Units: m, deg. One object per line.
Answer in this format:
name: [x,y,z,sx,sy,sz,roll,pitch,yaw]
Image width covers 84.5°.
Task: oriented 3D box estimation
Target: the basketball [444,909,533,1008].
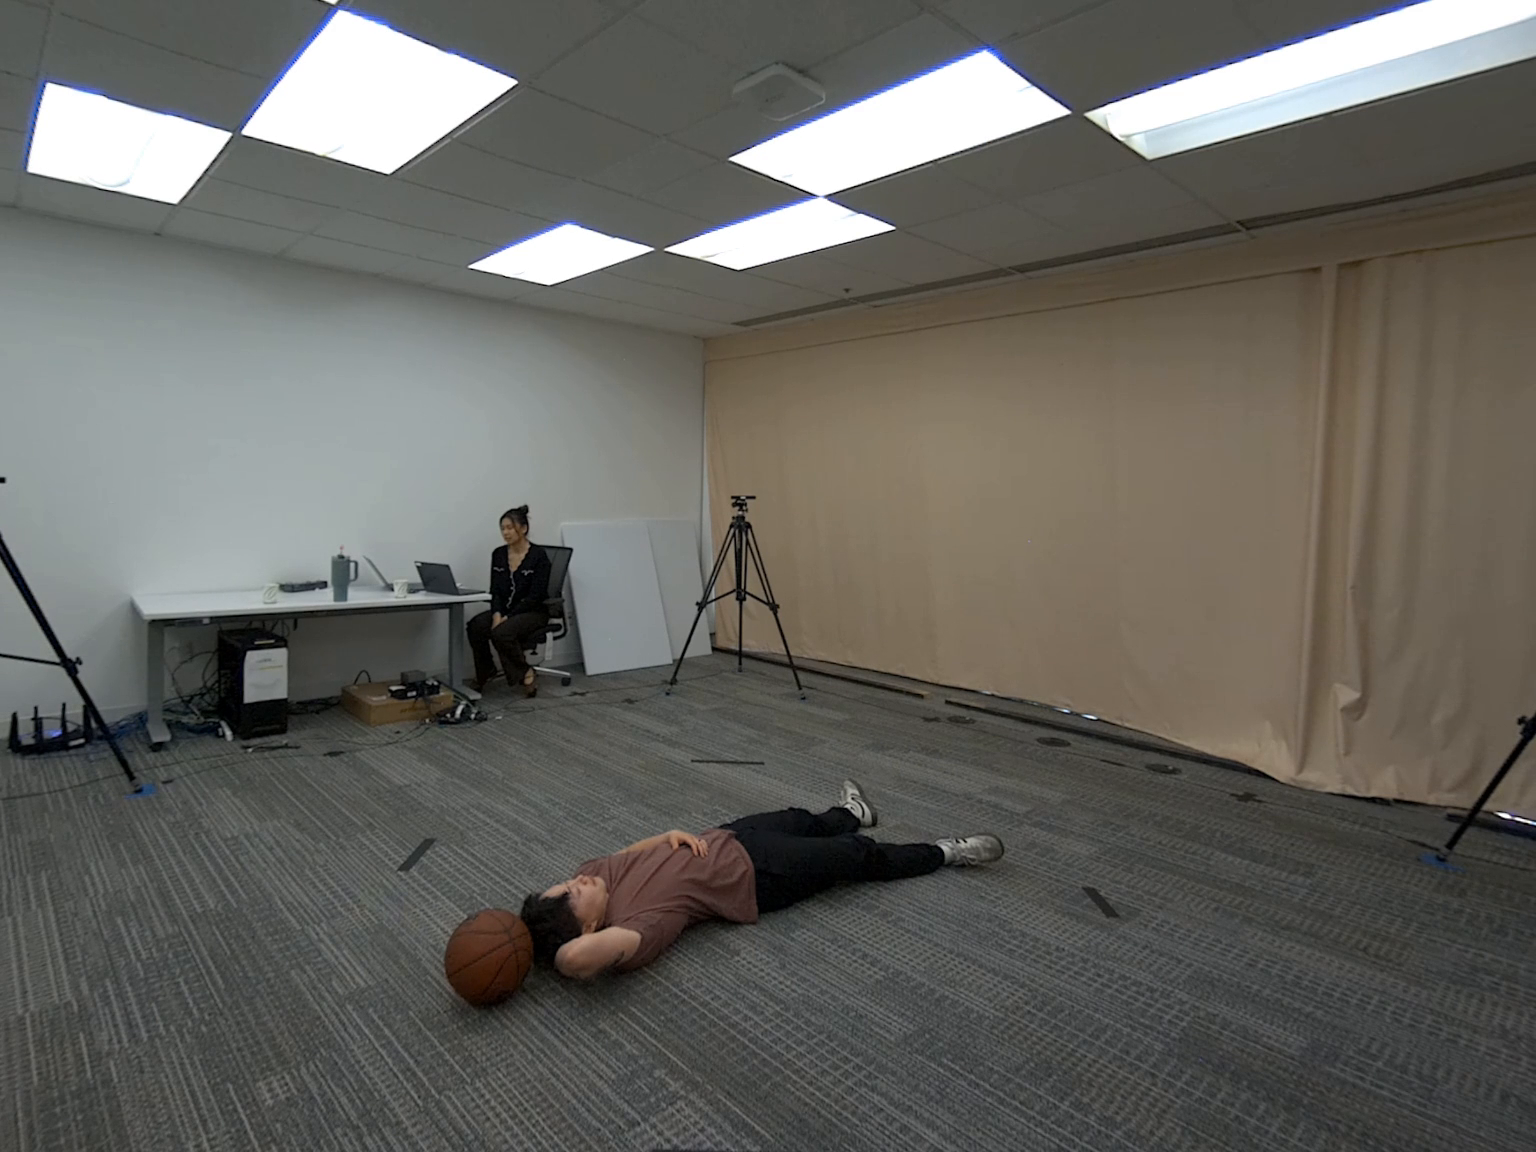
basketball: [-0.766,1.040,2.312,0.236,0.235,0.237,2,4,-2]
